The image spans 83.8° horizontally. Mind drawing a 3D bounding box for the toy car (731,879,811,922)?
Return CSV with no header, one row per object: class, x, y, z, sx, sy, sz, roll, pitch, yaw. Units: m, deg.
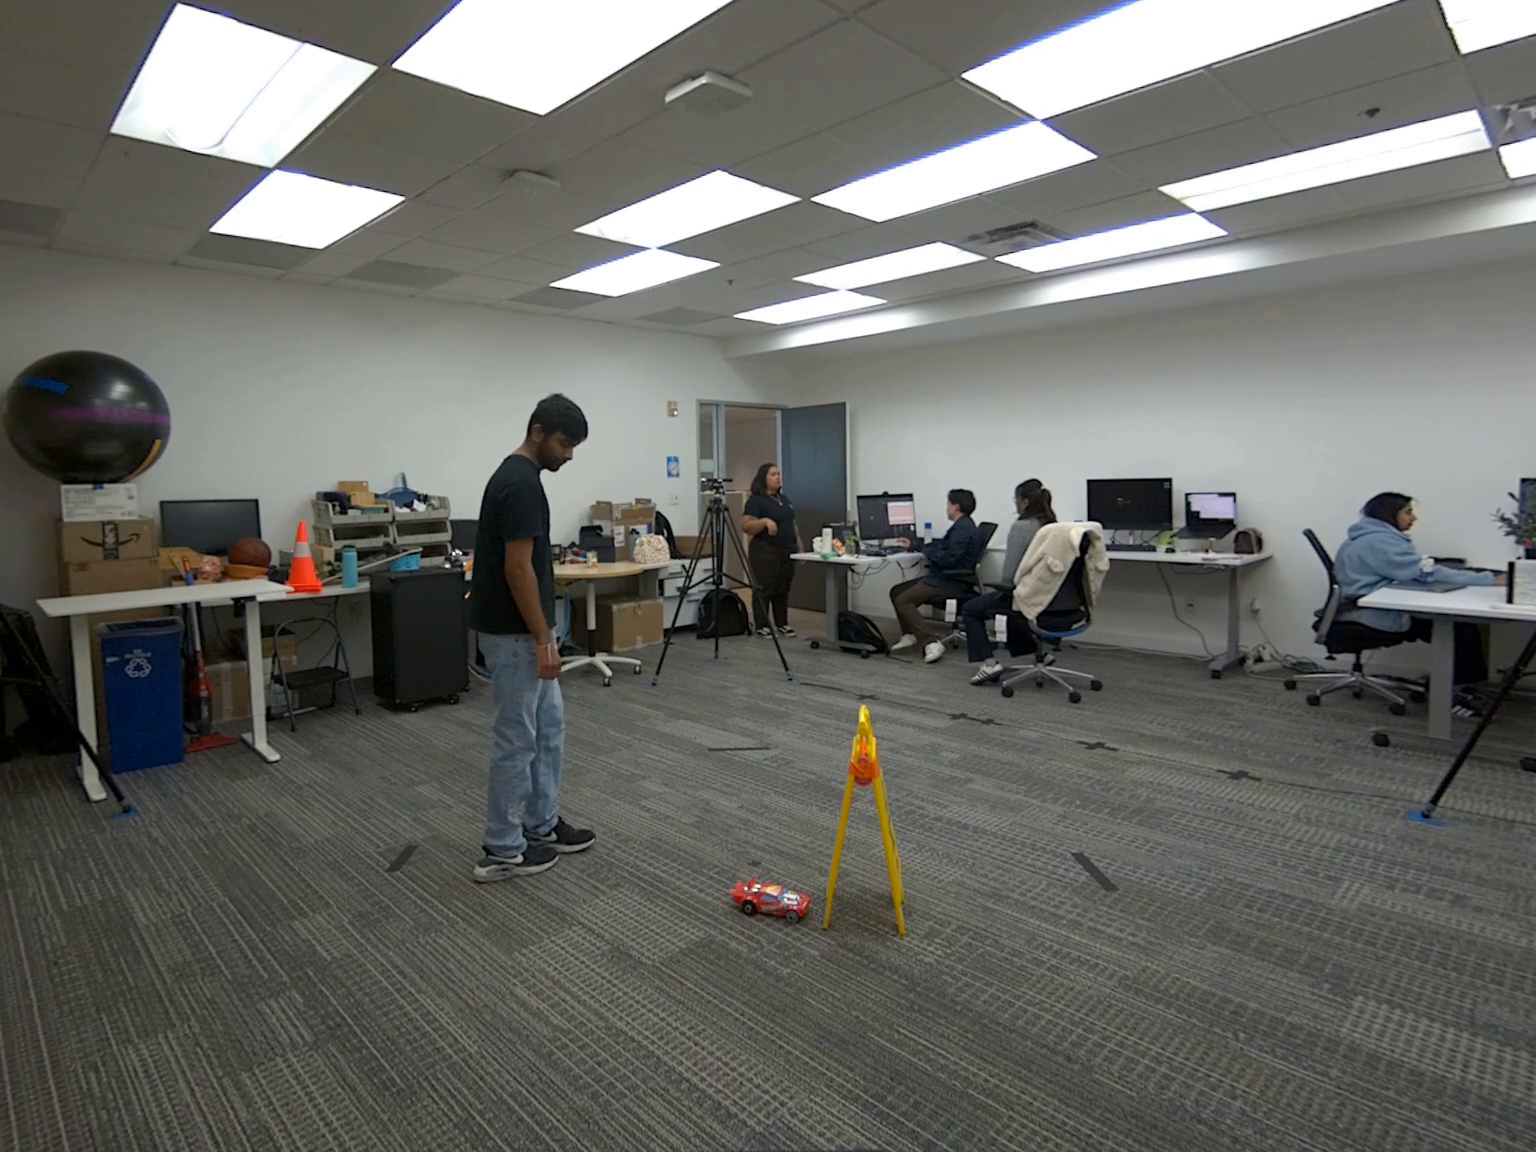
toy car,0.012,1.051,2.768,0.260,0.082,0.128,12,12,19
